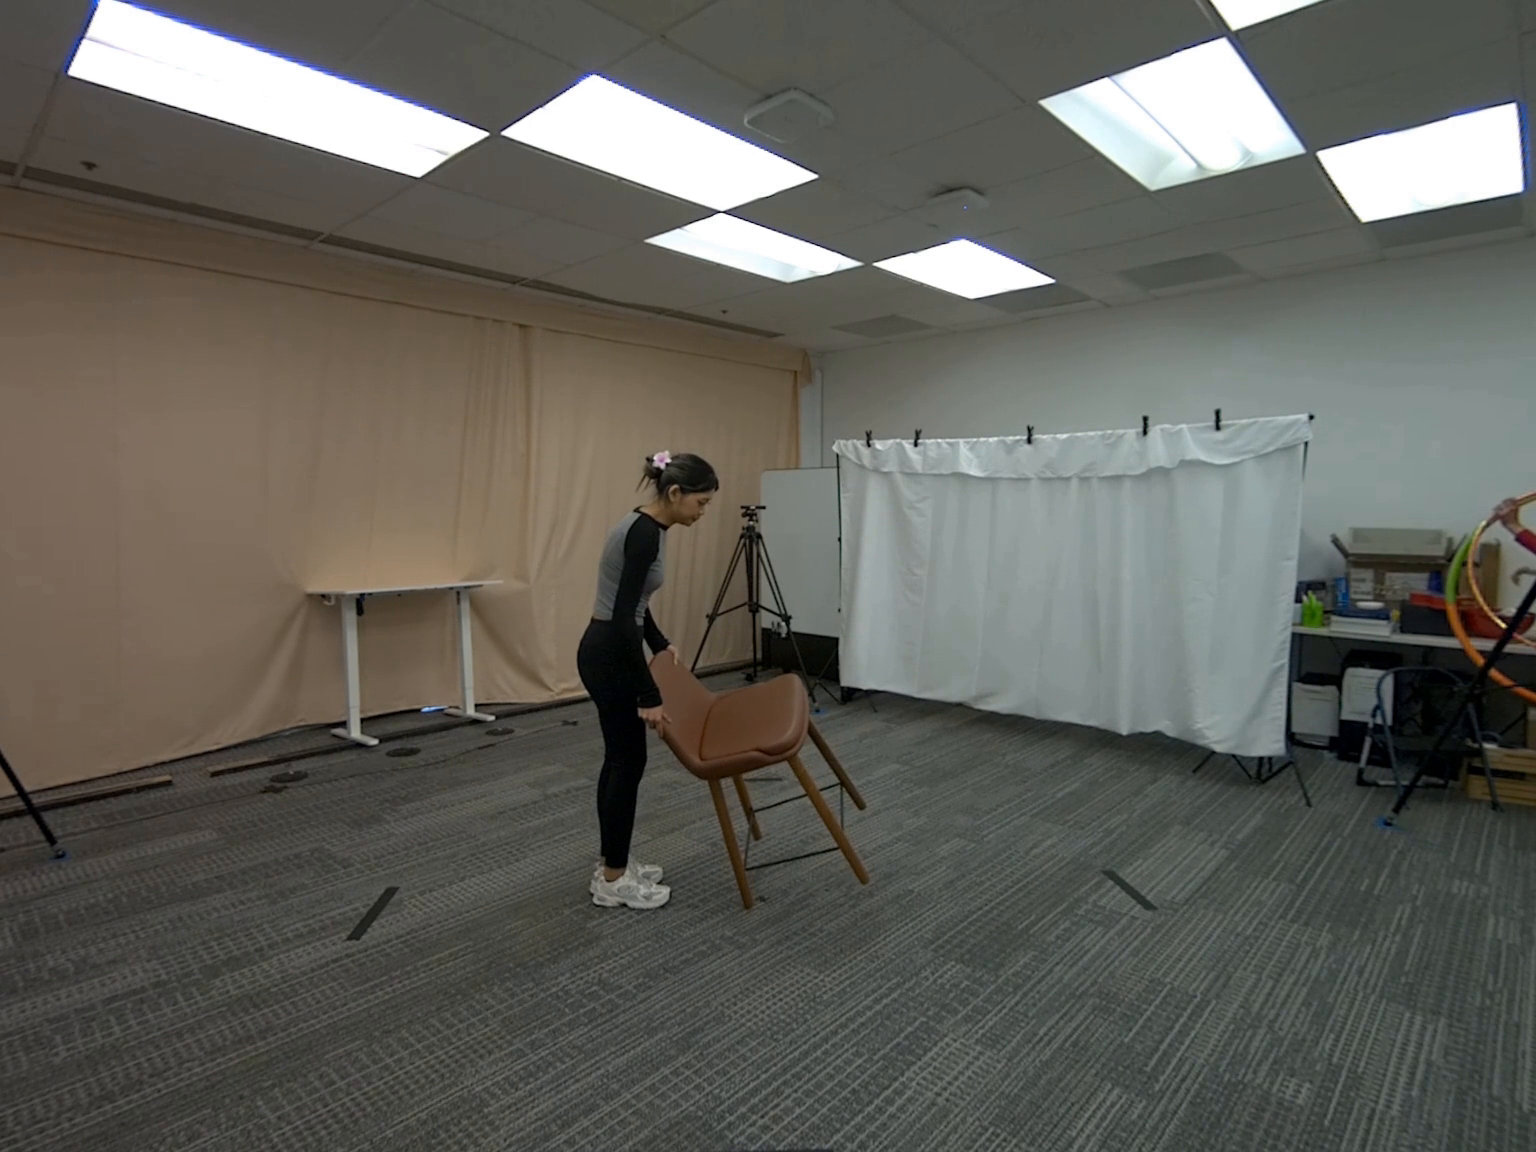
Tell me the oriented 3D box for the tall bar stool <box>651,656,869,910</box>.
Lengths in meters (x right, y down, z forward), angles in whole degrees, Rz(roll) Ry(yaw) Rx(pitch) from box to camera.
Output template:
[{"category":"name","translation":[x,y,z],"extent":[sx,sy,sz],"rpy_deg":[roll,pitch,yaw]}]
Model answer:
[{"category":"tall bar stool","translation":[-0.021,0.642,2.897],"extent":[0.473,0.874,0.459],"rpy_deg":[-21,18,16]}]
